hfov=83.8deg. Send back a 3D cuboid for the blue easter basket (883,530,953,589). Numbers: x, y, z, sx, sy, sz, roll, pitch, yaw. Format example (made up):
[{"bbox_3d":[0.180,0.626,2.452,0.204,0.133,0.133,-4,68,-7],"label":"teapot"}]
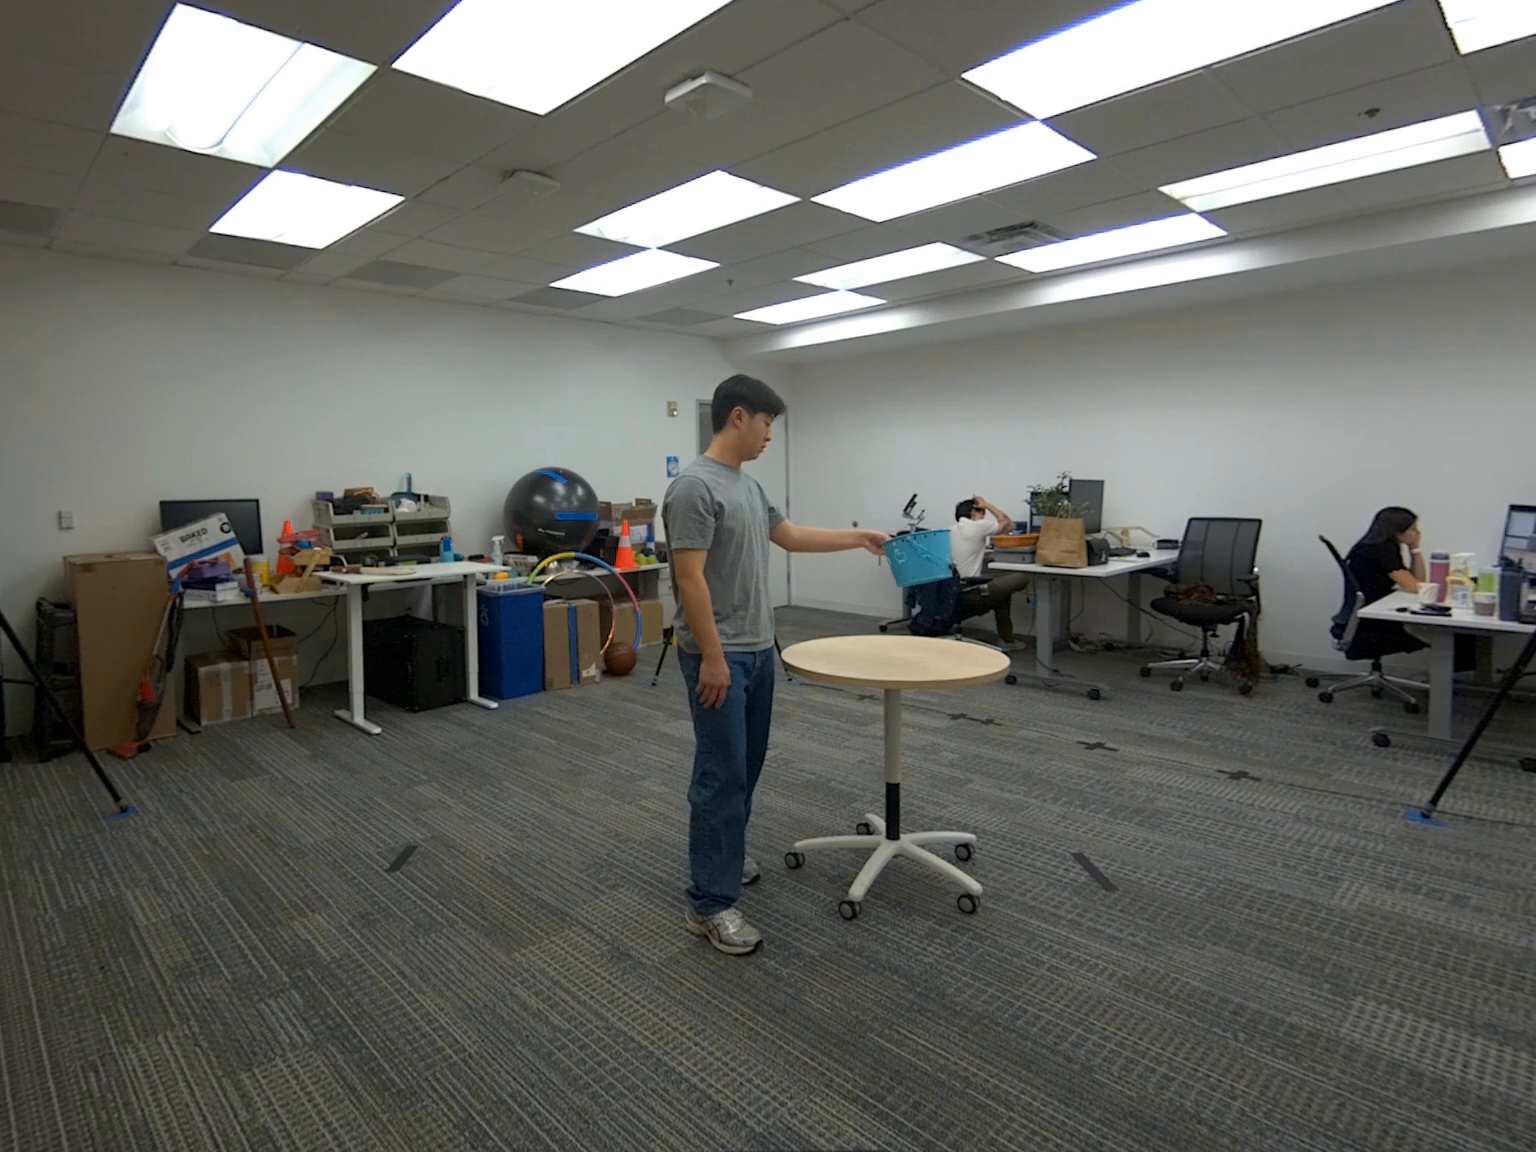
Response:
[{"bbox_3d":[0.496,-0.052,2.809,0.243,0.157,0.242,-11,-6,-3],"label":"blue easter basket"}]
